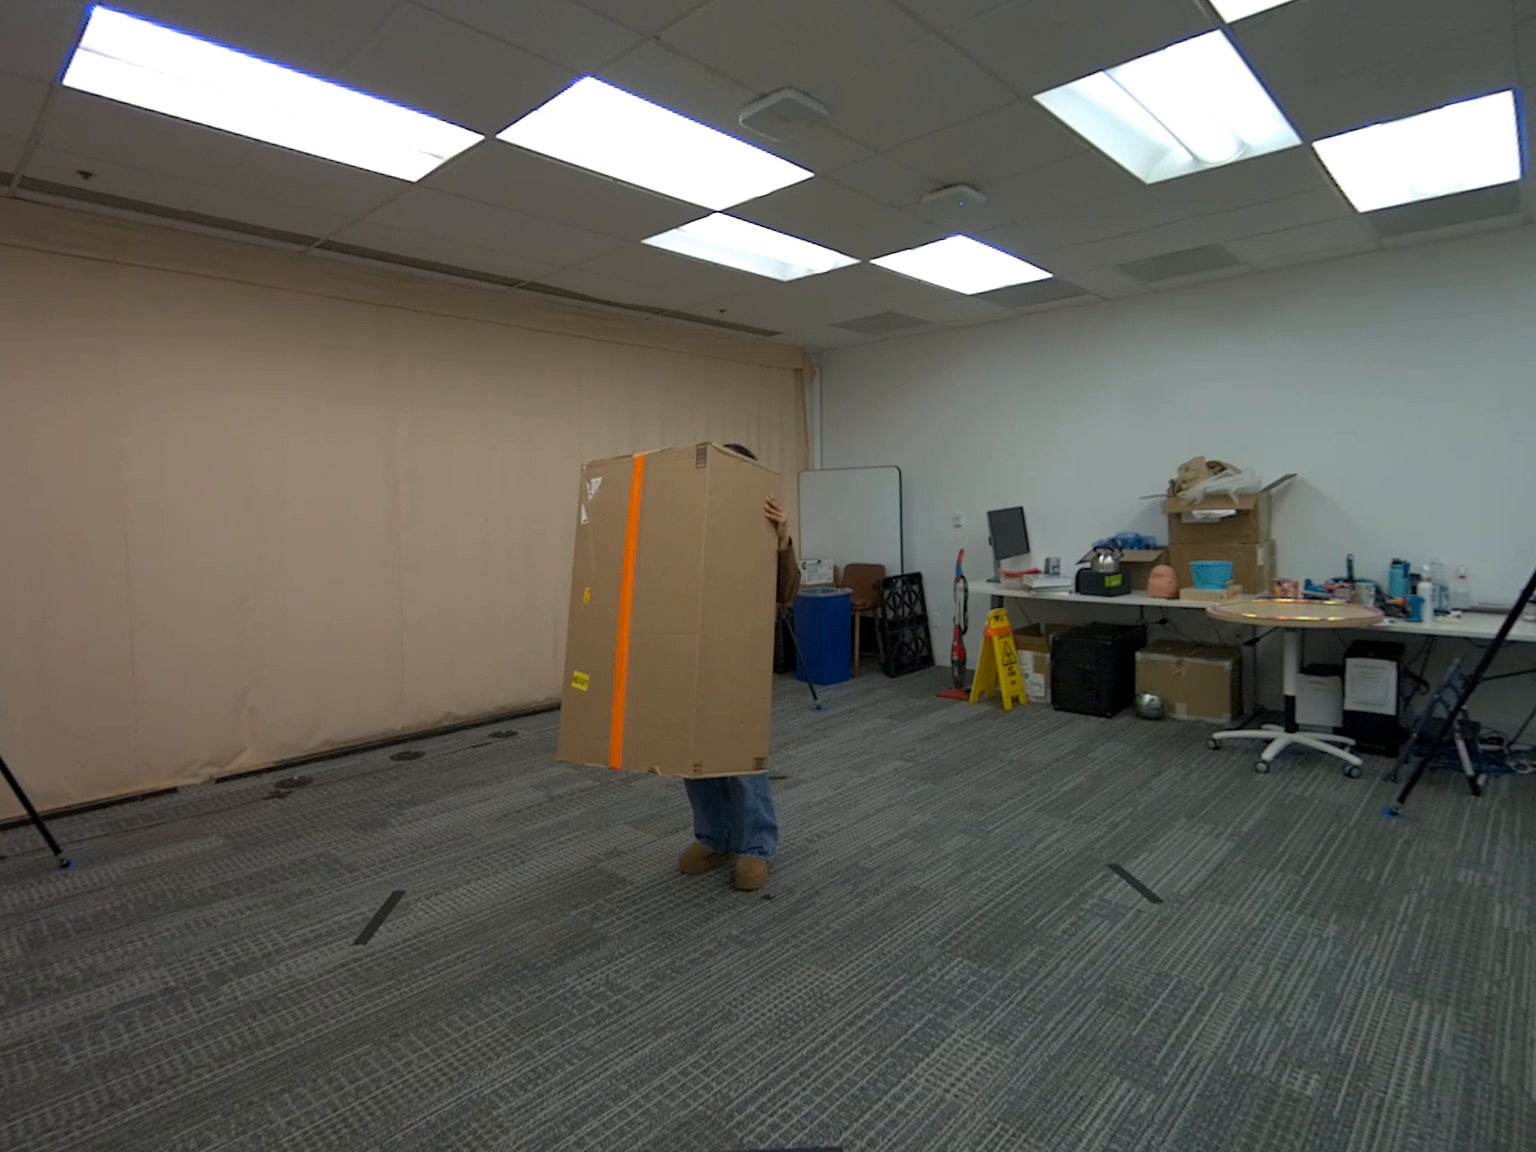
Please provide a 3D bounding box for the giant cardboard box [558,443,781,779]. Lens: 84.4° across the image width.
[{"bbox_3d":[-0.332,0.129,2.856,0.594,1.032,0.411,-5,-12,36],"label":"giant cardboard box"}]
